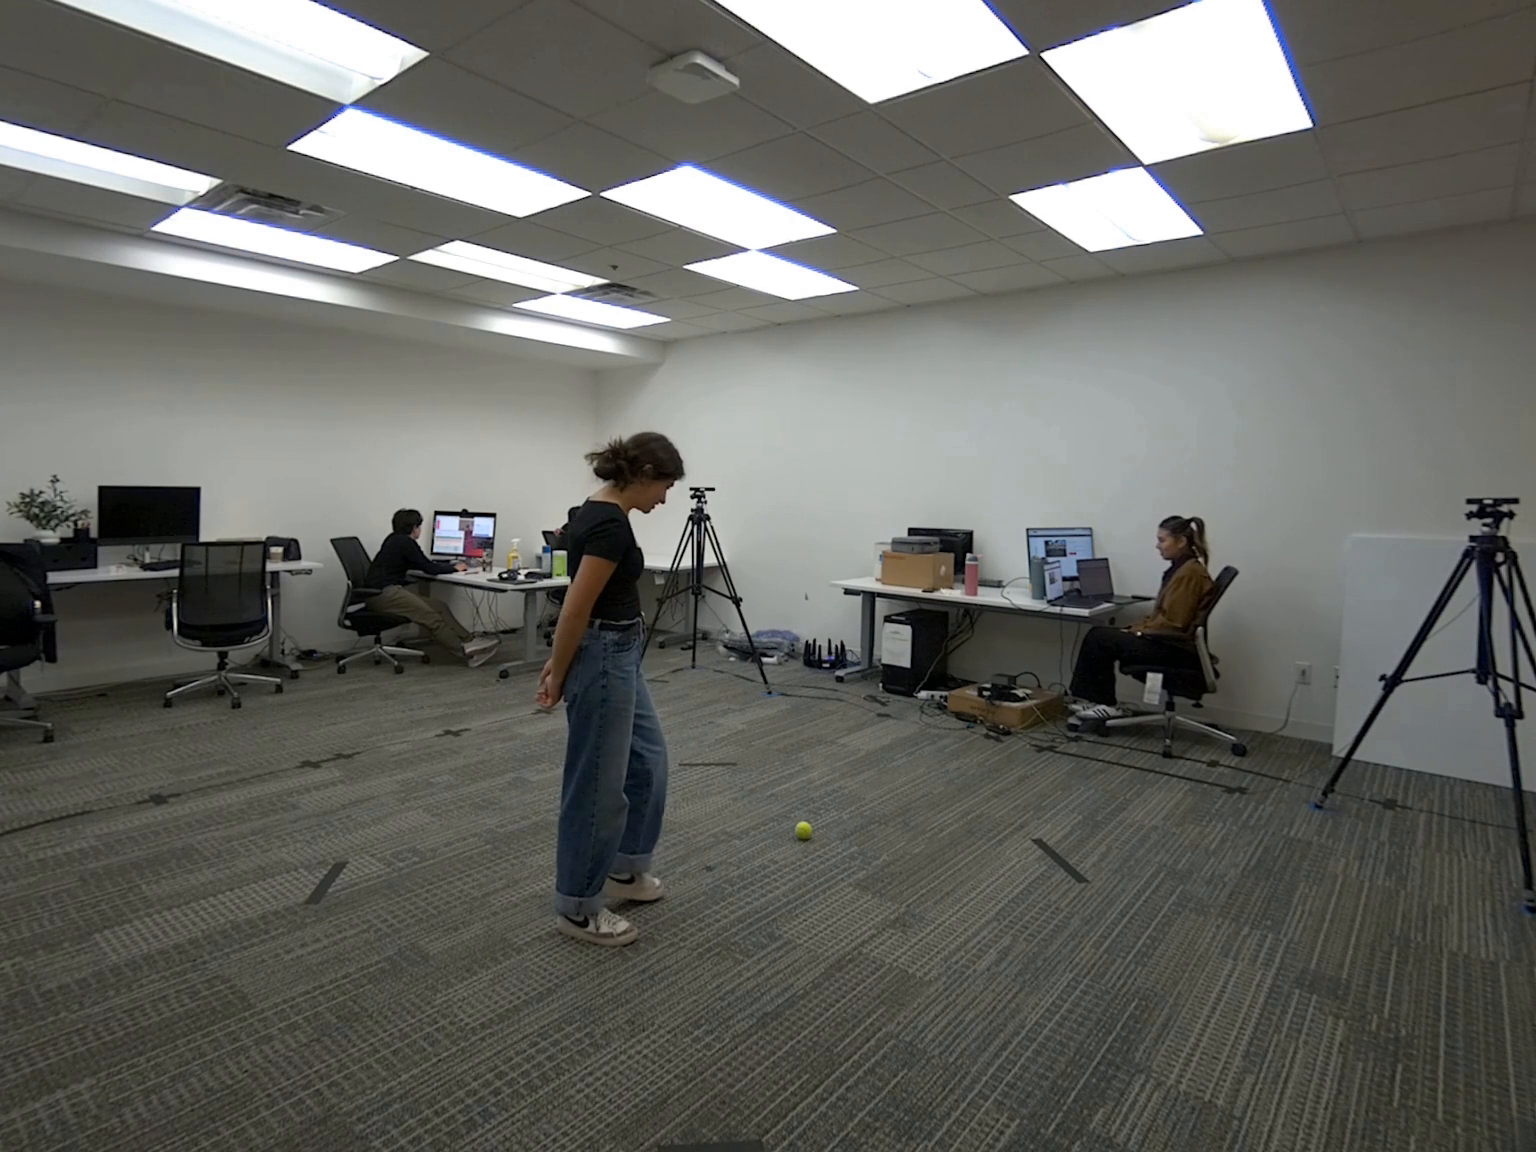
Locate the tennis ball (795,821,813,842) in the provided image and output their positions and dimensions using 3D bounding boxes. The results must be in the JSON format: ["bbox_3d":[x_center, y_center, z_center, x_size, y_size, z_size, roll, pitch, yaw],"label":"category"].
[{"bbox_3d":[0.136,0.993,3.401,0.066,0.066,0.067,1,4,-2],"label":"tennis ball"}]
